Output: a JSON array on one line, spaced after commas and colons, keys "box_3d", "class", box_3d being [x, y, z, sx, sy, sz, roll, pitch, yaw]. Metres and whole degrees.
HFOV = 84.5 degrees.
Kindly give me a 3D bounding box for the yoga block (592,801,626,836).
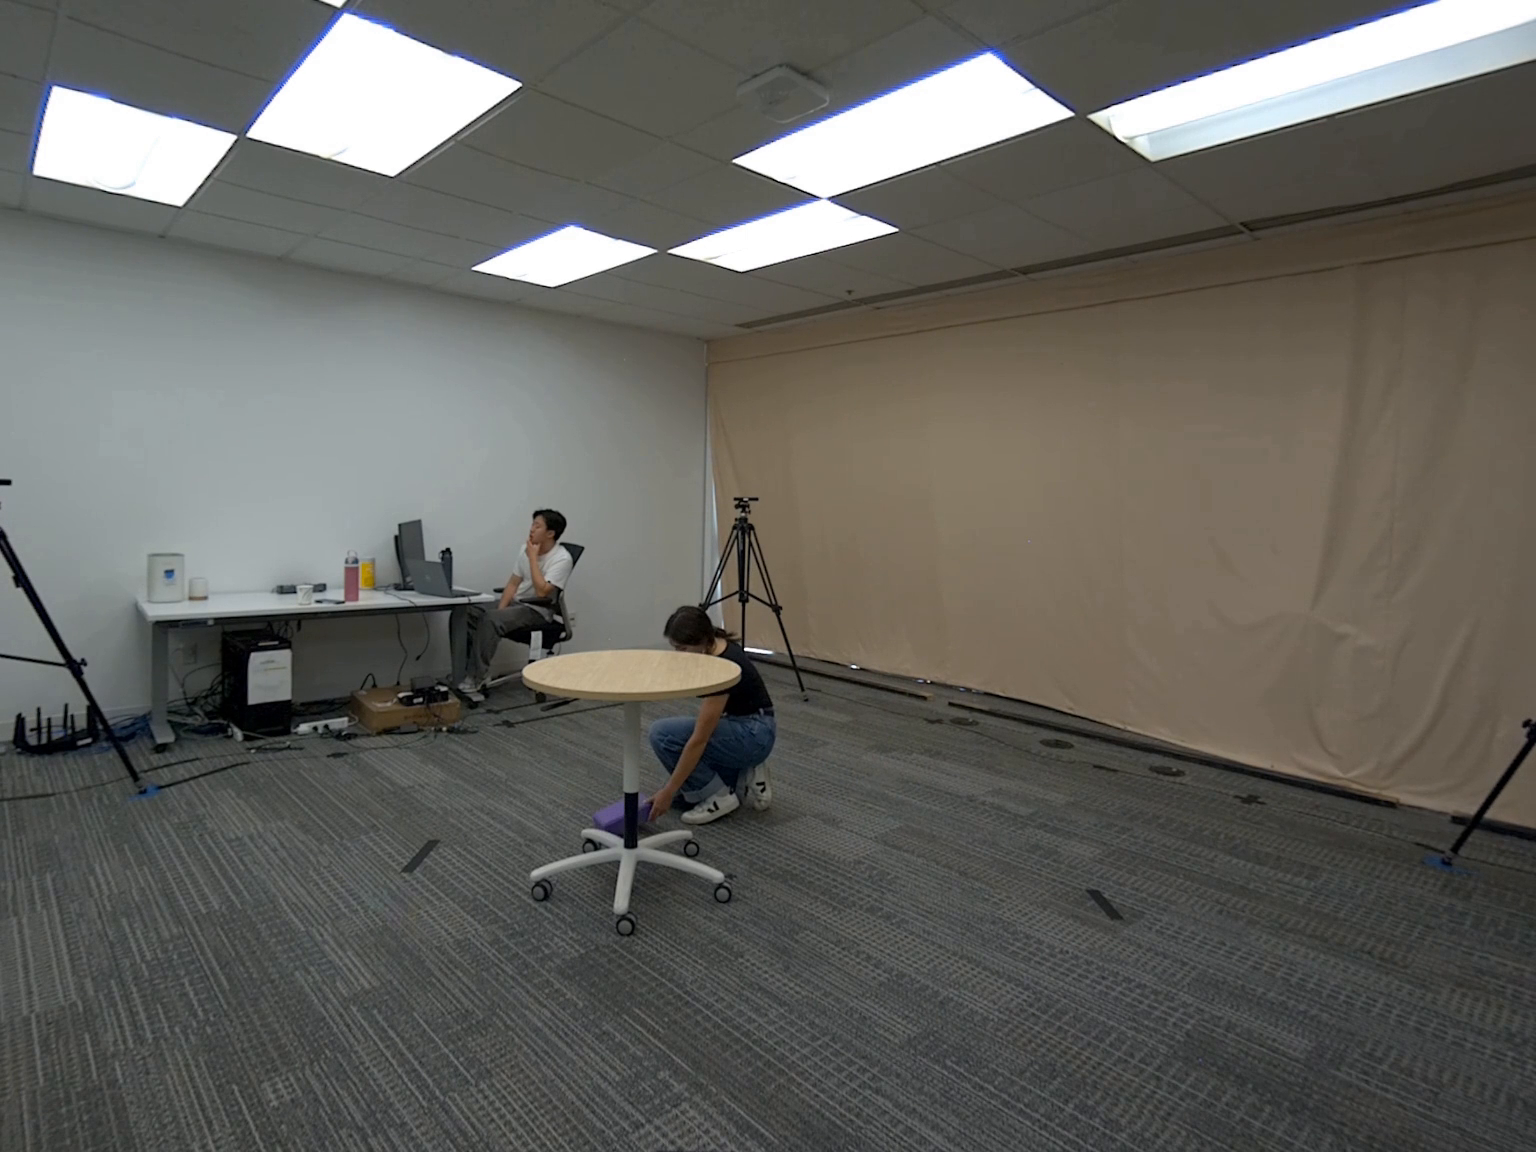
[{"box_3d": [-0.606, 1.004, 3.500, 0.226, 0.076, 0.152, -19, 13, -31], "class": "yoga block"}]
